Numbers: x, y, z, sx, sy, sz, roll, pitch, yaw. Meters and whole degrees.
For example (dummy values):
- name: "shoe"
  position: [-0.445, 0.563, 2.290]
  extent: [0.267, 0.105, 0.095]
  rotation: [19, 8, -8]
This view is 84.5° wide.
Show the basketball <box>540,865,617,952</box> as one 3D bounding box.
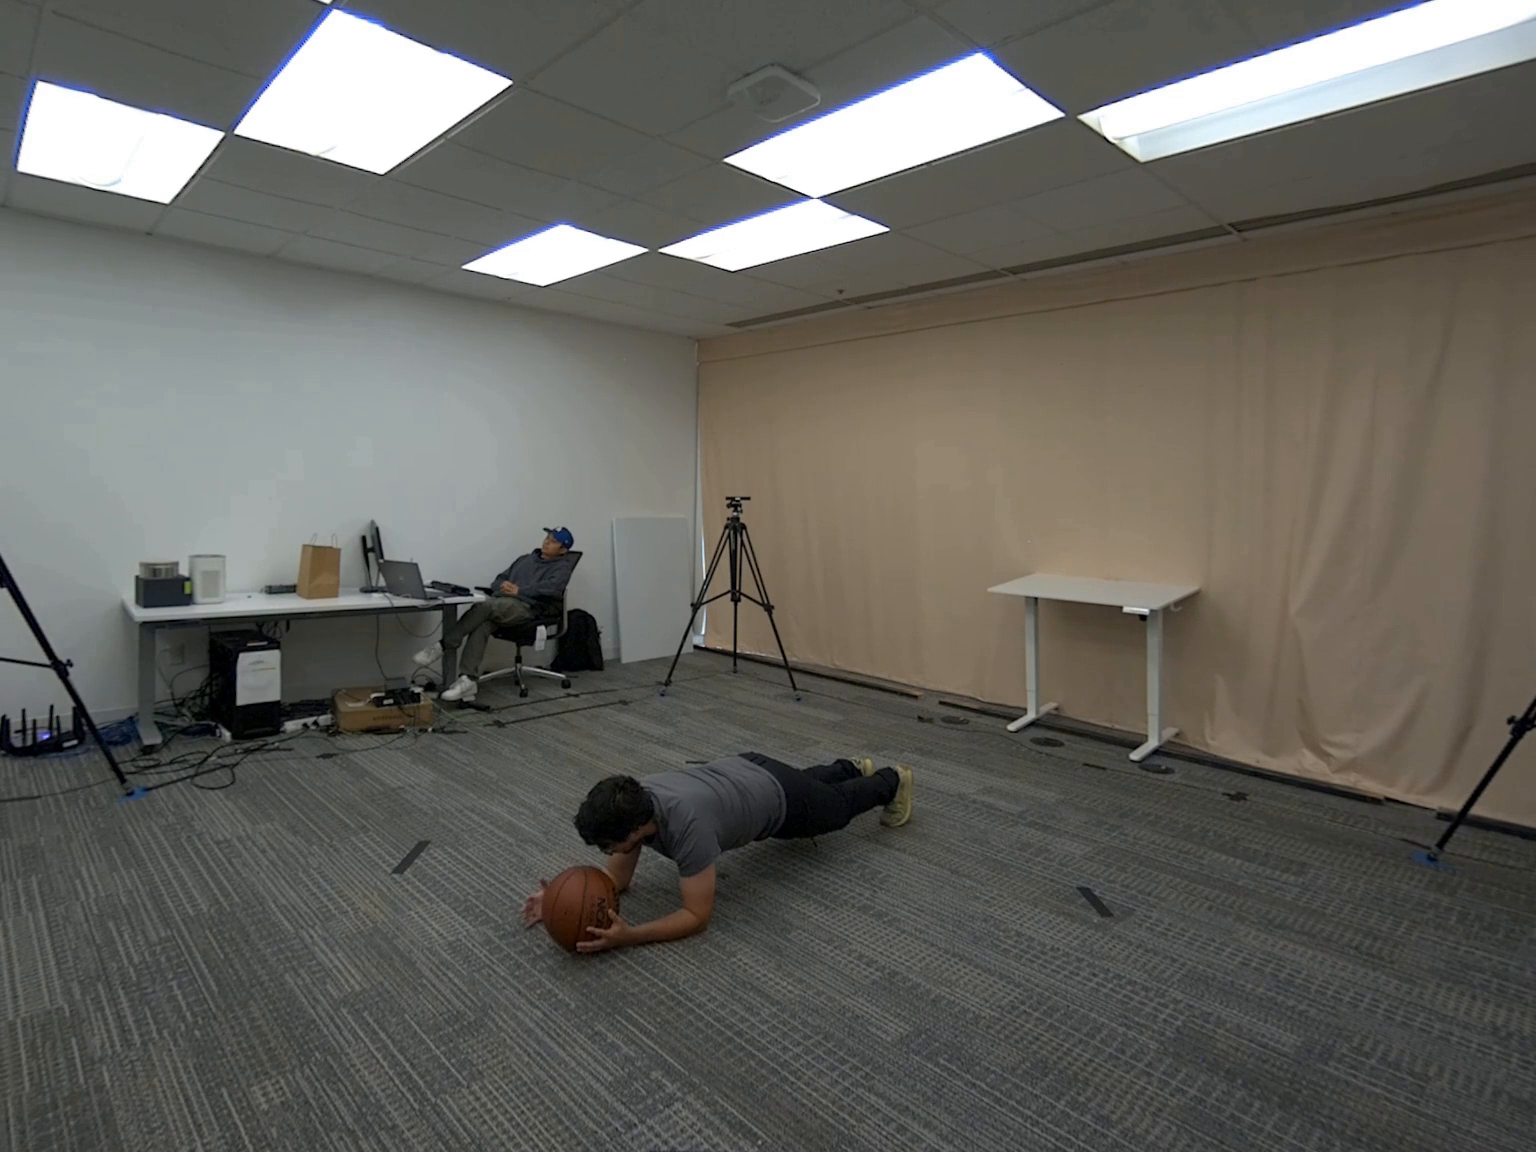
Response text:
- name: "basketball"
  position: [-0.582, 1.023, 2.611]
  extent: [0.236, 0.235, 0.237]
  rotation: [1, 4, -1]
